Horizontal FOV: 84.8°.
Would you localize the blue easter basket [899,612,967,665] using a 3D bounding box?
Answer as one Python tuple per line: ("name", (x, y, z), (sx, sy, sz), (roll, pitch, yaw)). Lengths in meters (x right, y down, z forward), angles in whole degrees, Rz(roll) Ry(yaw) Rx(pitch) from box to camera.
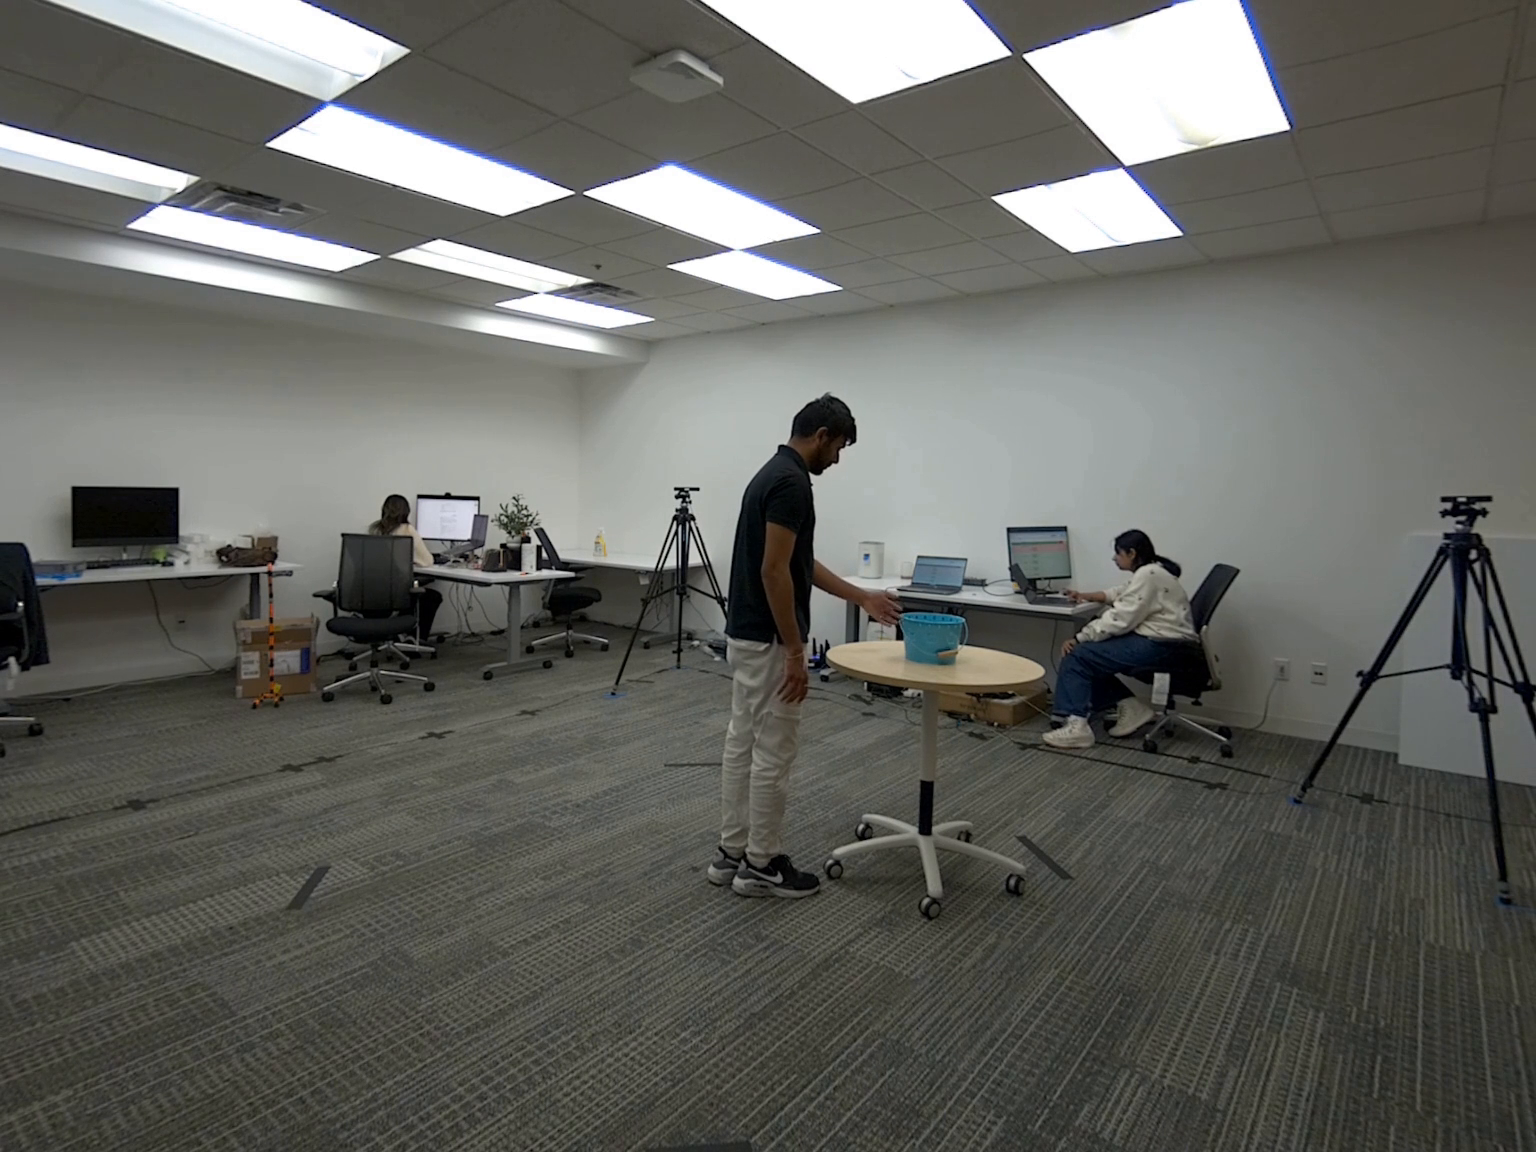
("blue easter basket", (0.594, 0.226, 3.107), (0.243, 0.155, 0.245), (2, 5, -2))
